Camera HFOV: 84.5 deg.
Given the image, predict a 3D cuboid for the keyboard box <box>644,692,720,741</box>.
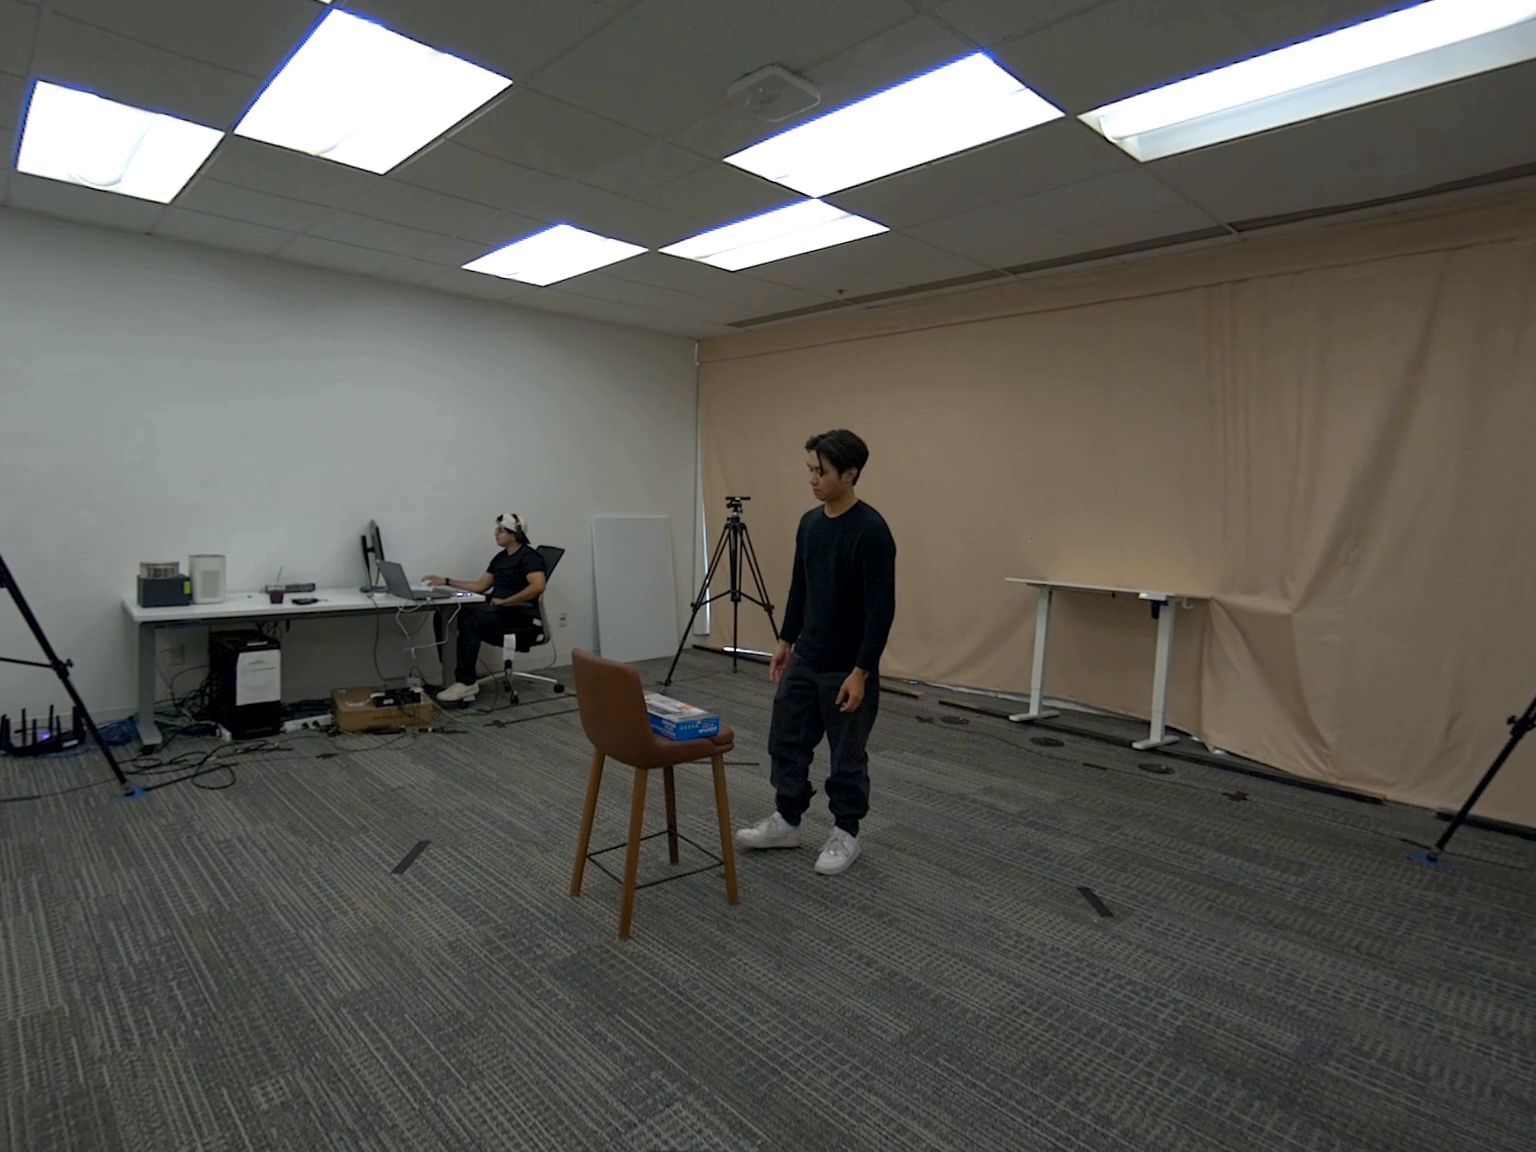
[{"bbox_3d":[-0.370,0.473,2.901,0.172,0.059,0.448,-1,6,-39],"label":"keyboard box"}]
